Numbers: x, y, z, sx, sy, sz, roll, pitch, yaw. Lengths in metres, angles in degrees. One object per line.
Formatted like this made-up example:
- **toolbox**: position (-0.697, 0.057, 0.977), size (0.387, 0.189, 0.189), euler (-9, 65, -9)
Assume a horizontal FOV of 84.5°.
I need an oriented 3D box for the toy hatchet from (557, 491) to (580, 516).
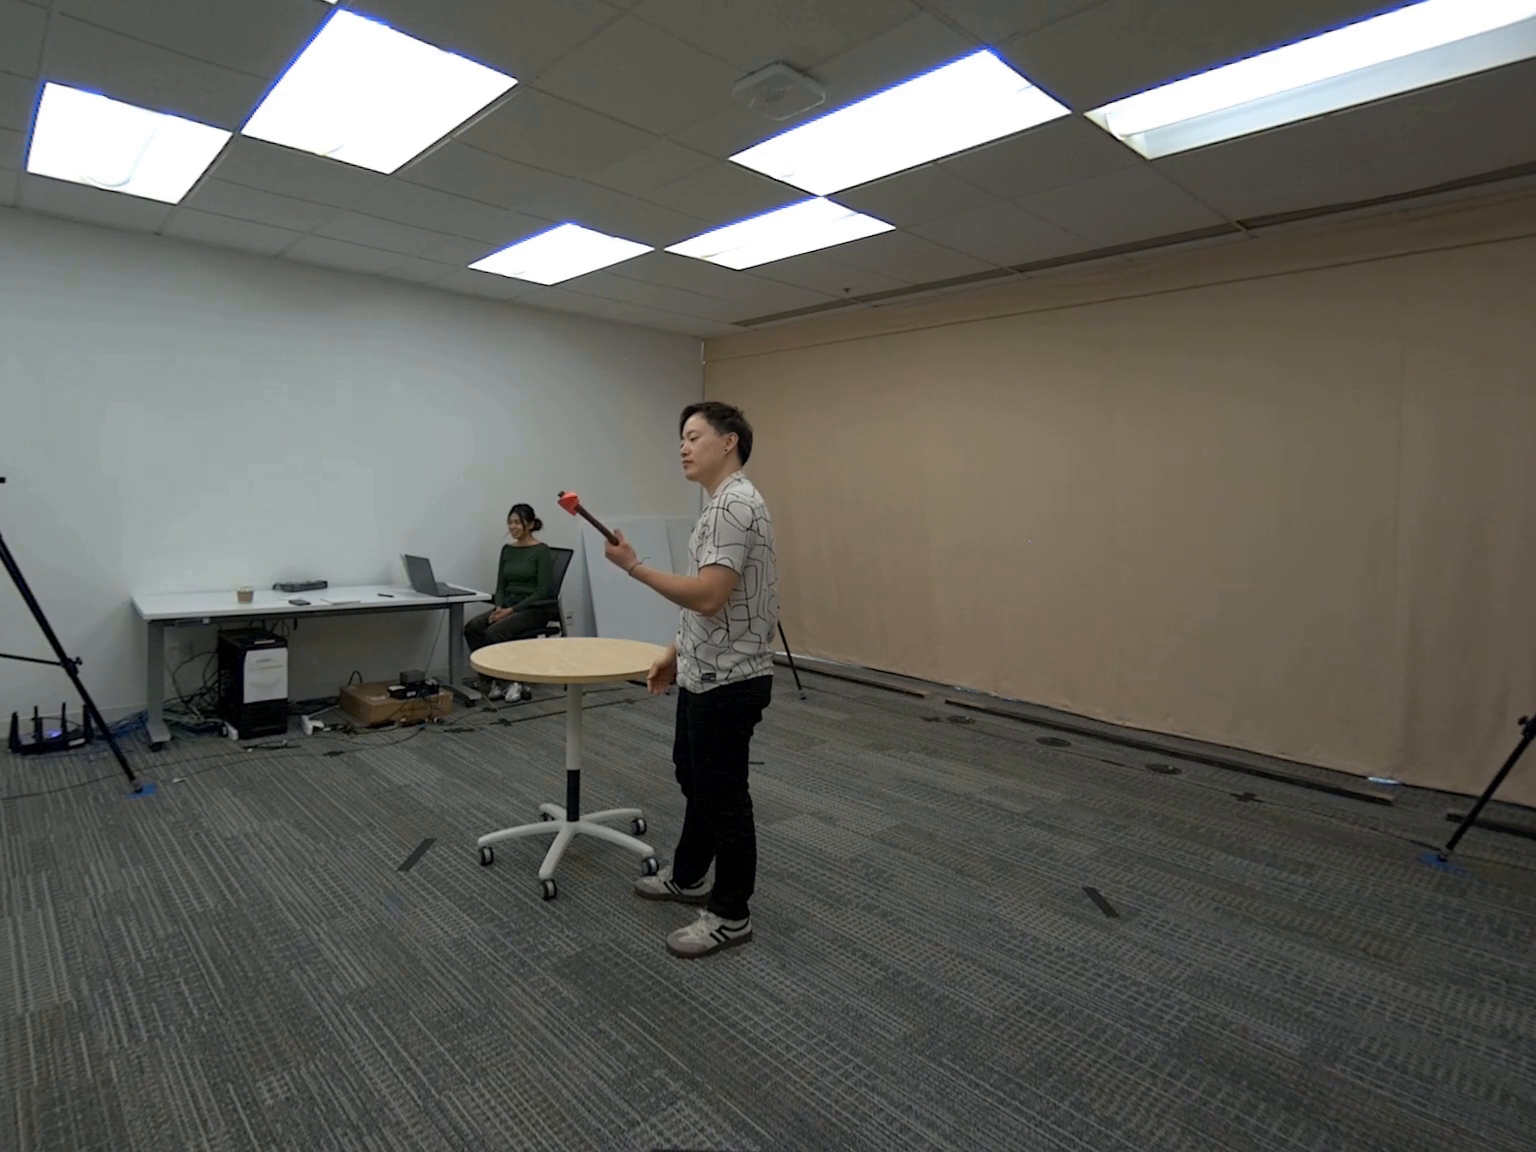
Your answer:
- **toy hatchet**: position (-0.494, -0.139, 2.331), size (0.134, 0.030, 0.262), euler (7, -34, 41)
